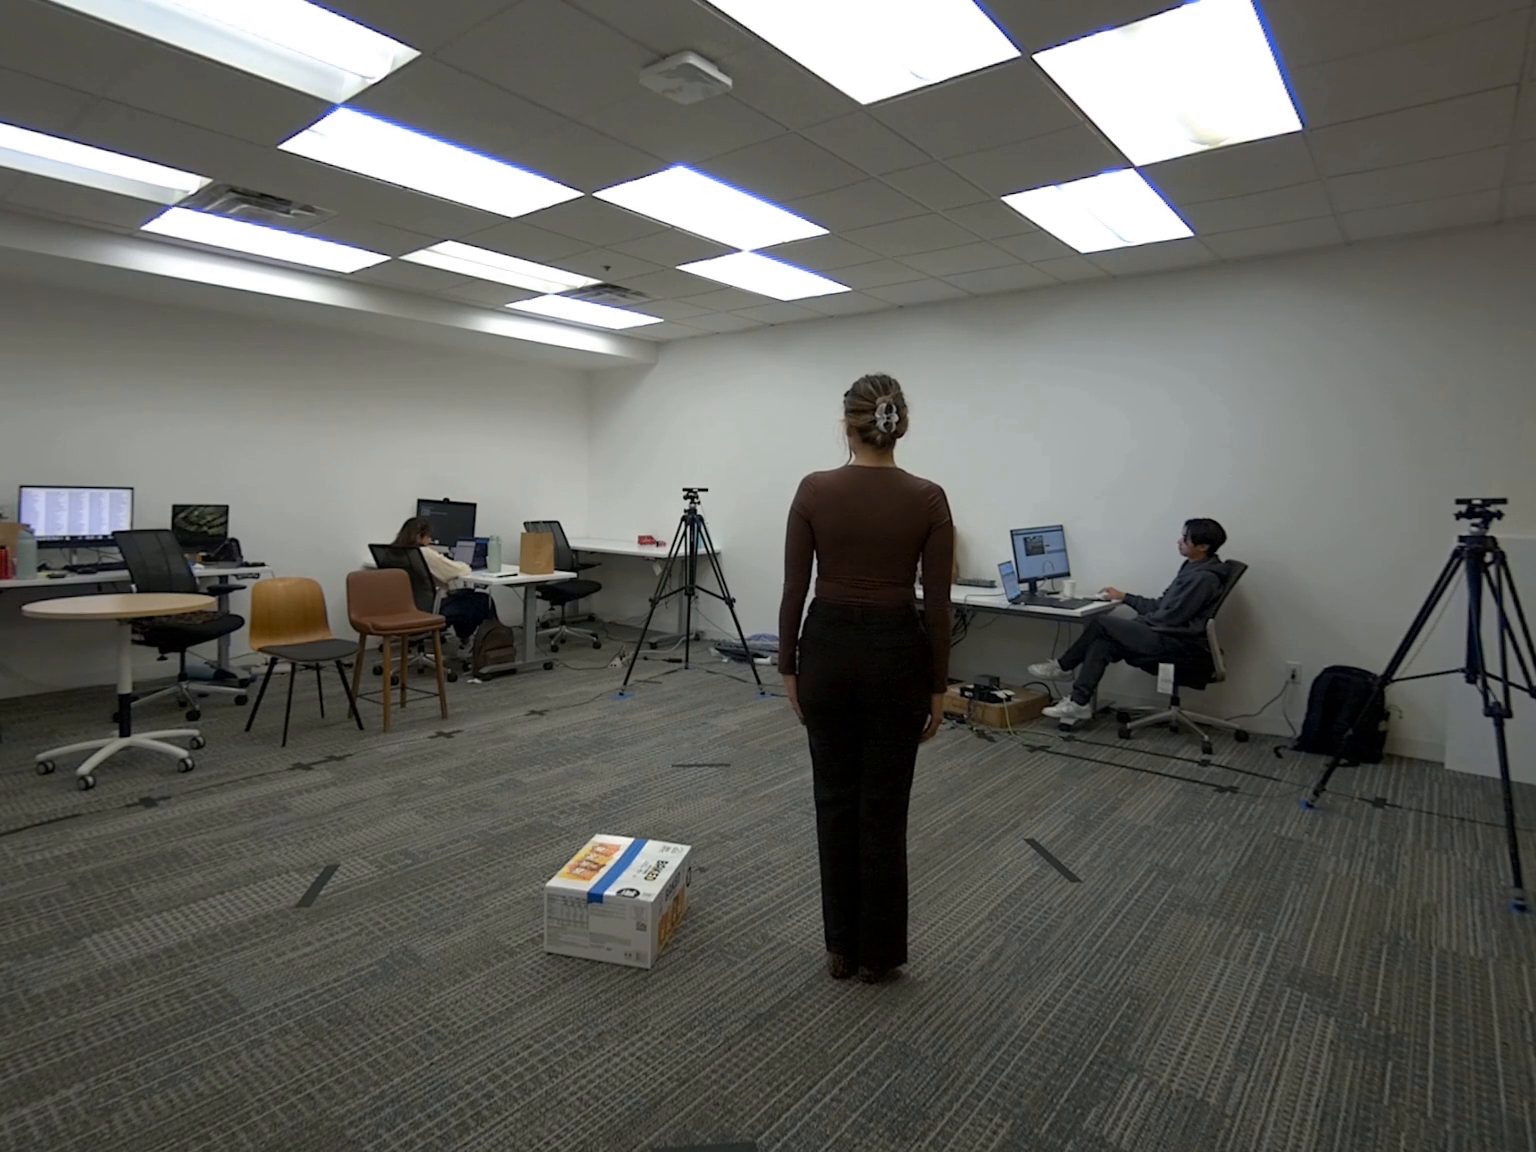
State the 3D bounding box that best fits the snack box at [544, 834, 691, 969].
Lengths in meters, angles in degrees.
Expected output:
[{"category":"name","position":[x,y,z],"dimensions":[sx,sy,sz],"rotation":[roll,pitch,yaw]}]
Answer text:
[{"category":"snack box","position":[-0.469,1.004,2.672],"dimensions":[0.345,0.205,0.401],"rotation":[2,5,13]}]
